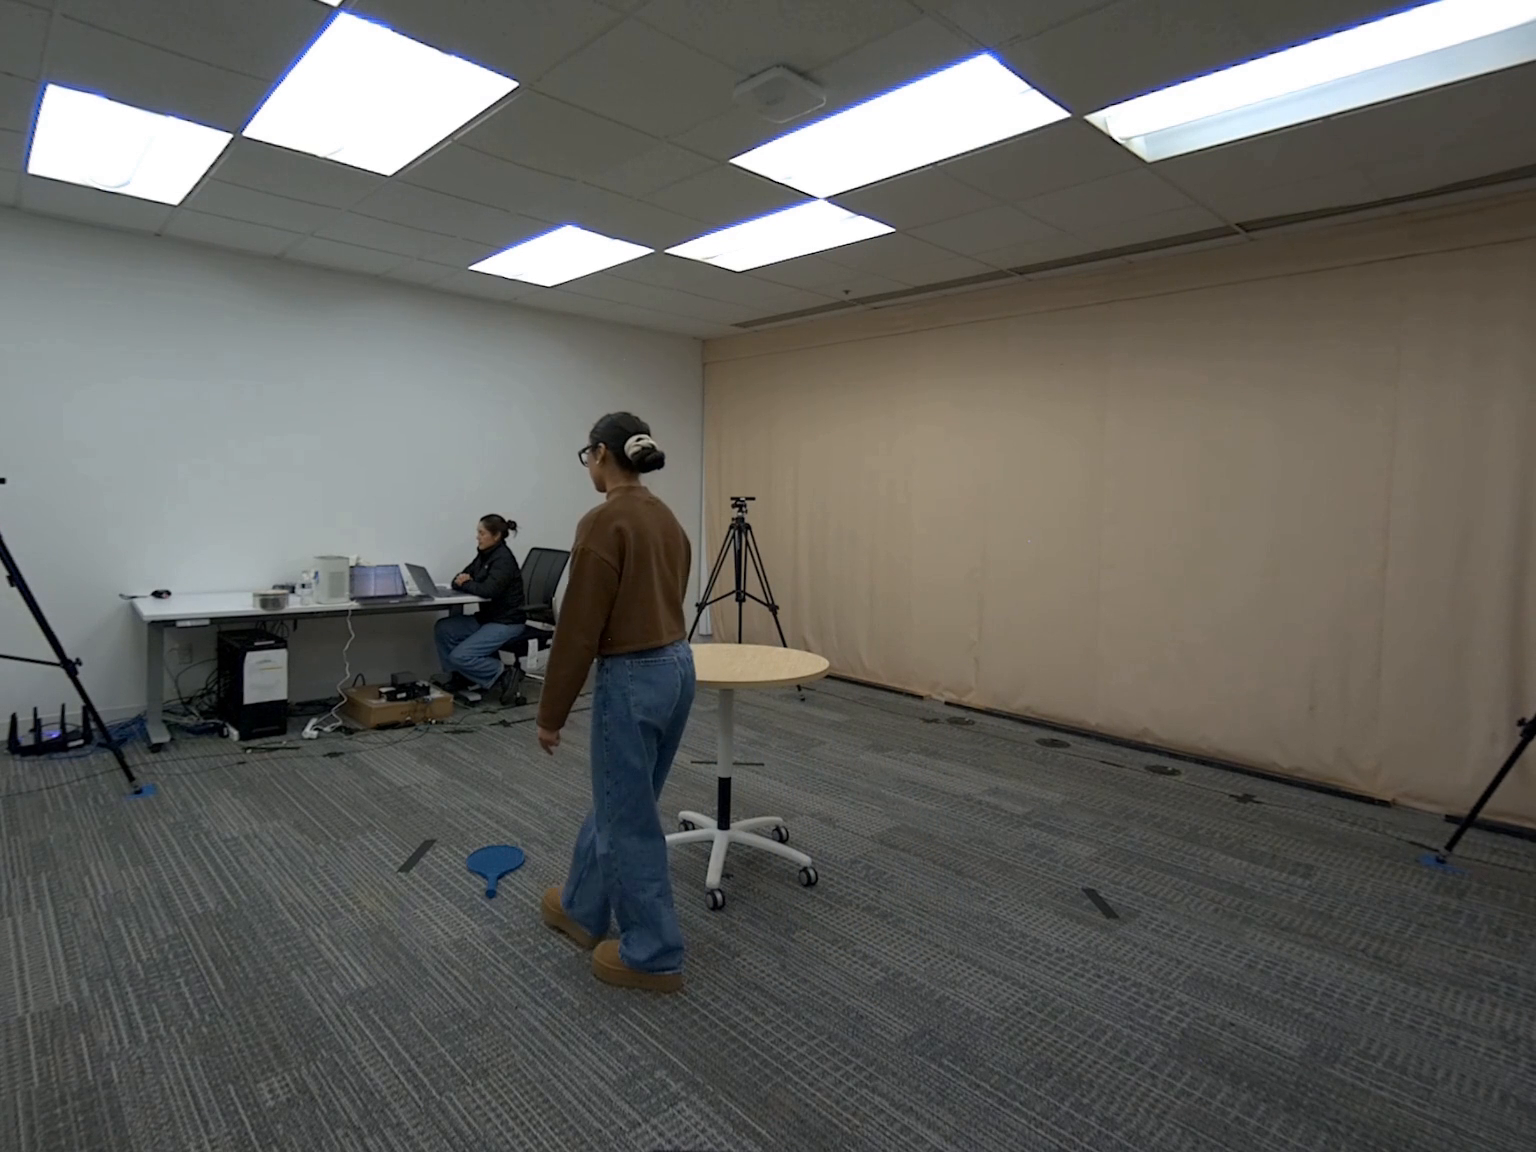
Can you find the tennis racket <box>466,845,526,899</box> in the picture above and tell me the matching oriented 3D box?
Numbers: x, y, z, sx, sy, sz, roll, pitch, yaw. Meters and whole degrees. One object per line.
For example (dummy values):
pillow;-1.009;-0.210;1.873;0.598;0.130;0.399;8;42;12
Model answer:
tennis racket;-1.016;1.078;3.095;0.212;0.032;0.438;0;4;-13
